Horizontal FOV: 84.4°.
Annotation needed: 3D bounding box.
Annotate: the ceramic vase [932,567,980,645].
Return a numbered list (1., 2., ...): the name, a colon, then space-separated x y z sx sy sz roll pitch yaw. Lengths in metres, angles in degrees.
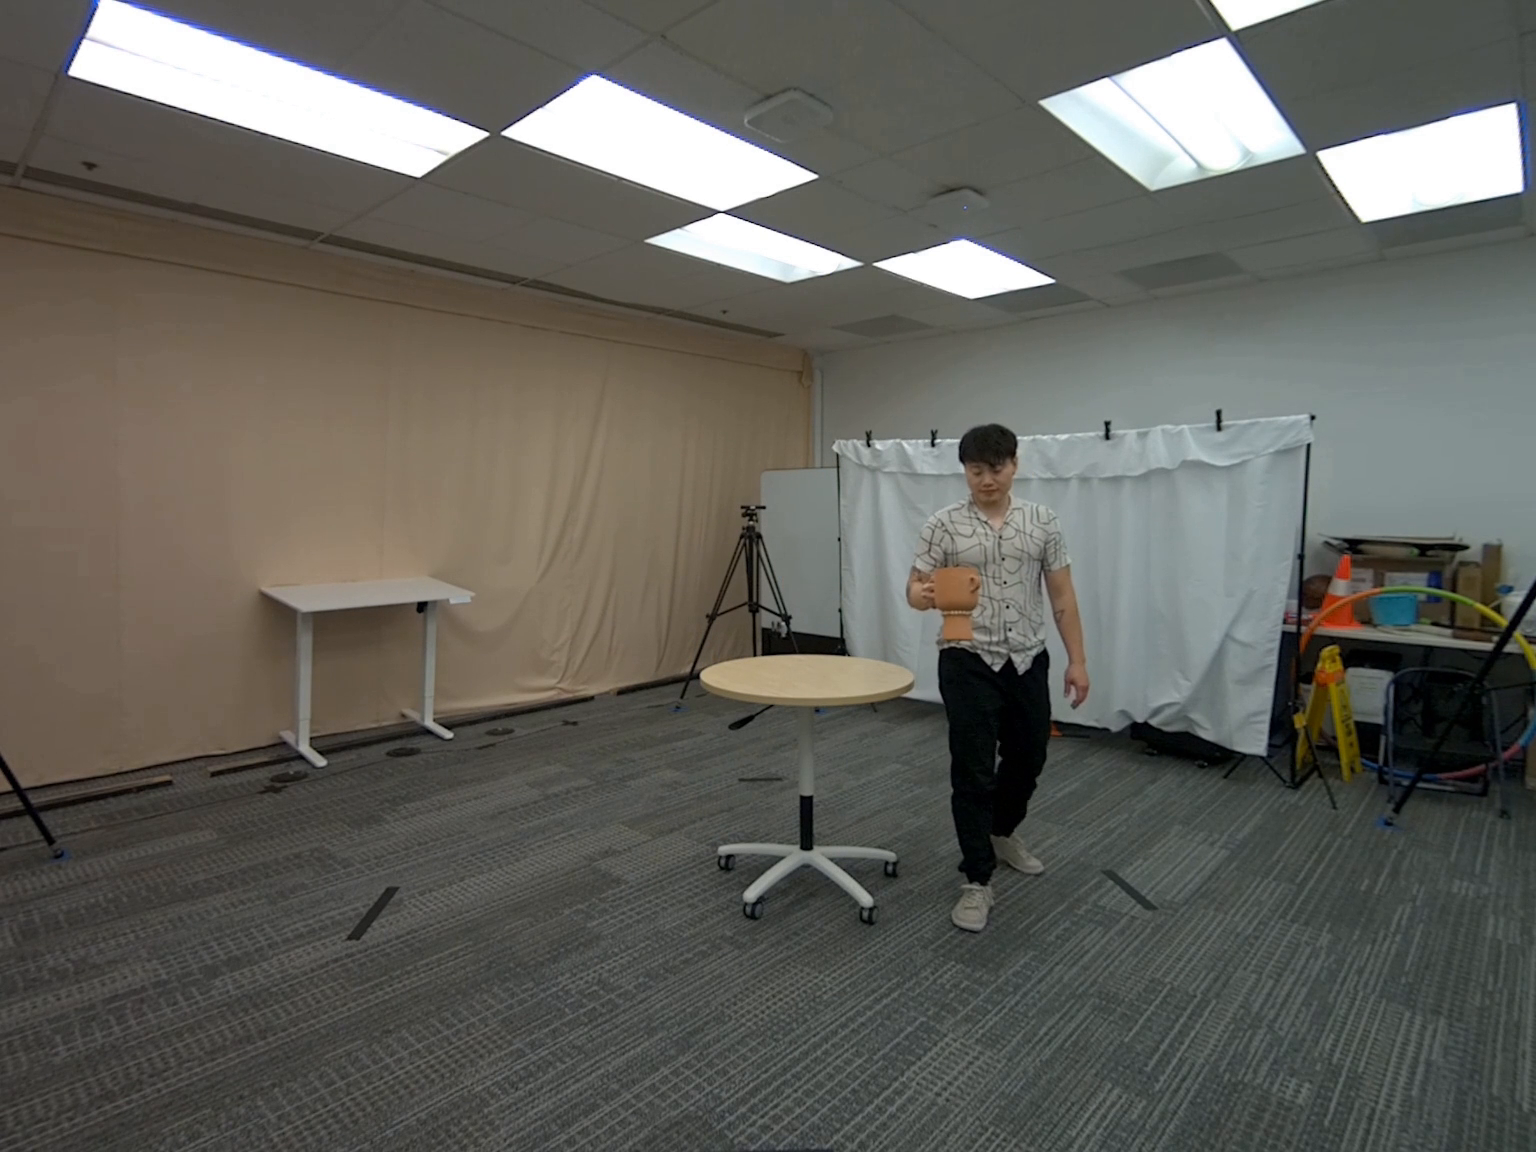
1. ceramic vase: 0.581 0.090 2.624 0.136 0.220 0.156 -1 -5 11
